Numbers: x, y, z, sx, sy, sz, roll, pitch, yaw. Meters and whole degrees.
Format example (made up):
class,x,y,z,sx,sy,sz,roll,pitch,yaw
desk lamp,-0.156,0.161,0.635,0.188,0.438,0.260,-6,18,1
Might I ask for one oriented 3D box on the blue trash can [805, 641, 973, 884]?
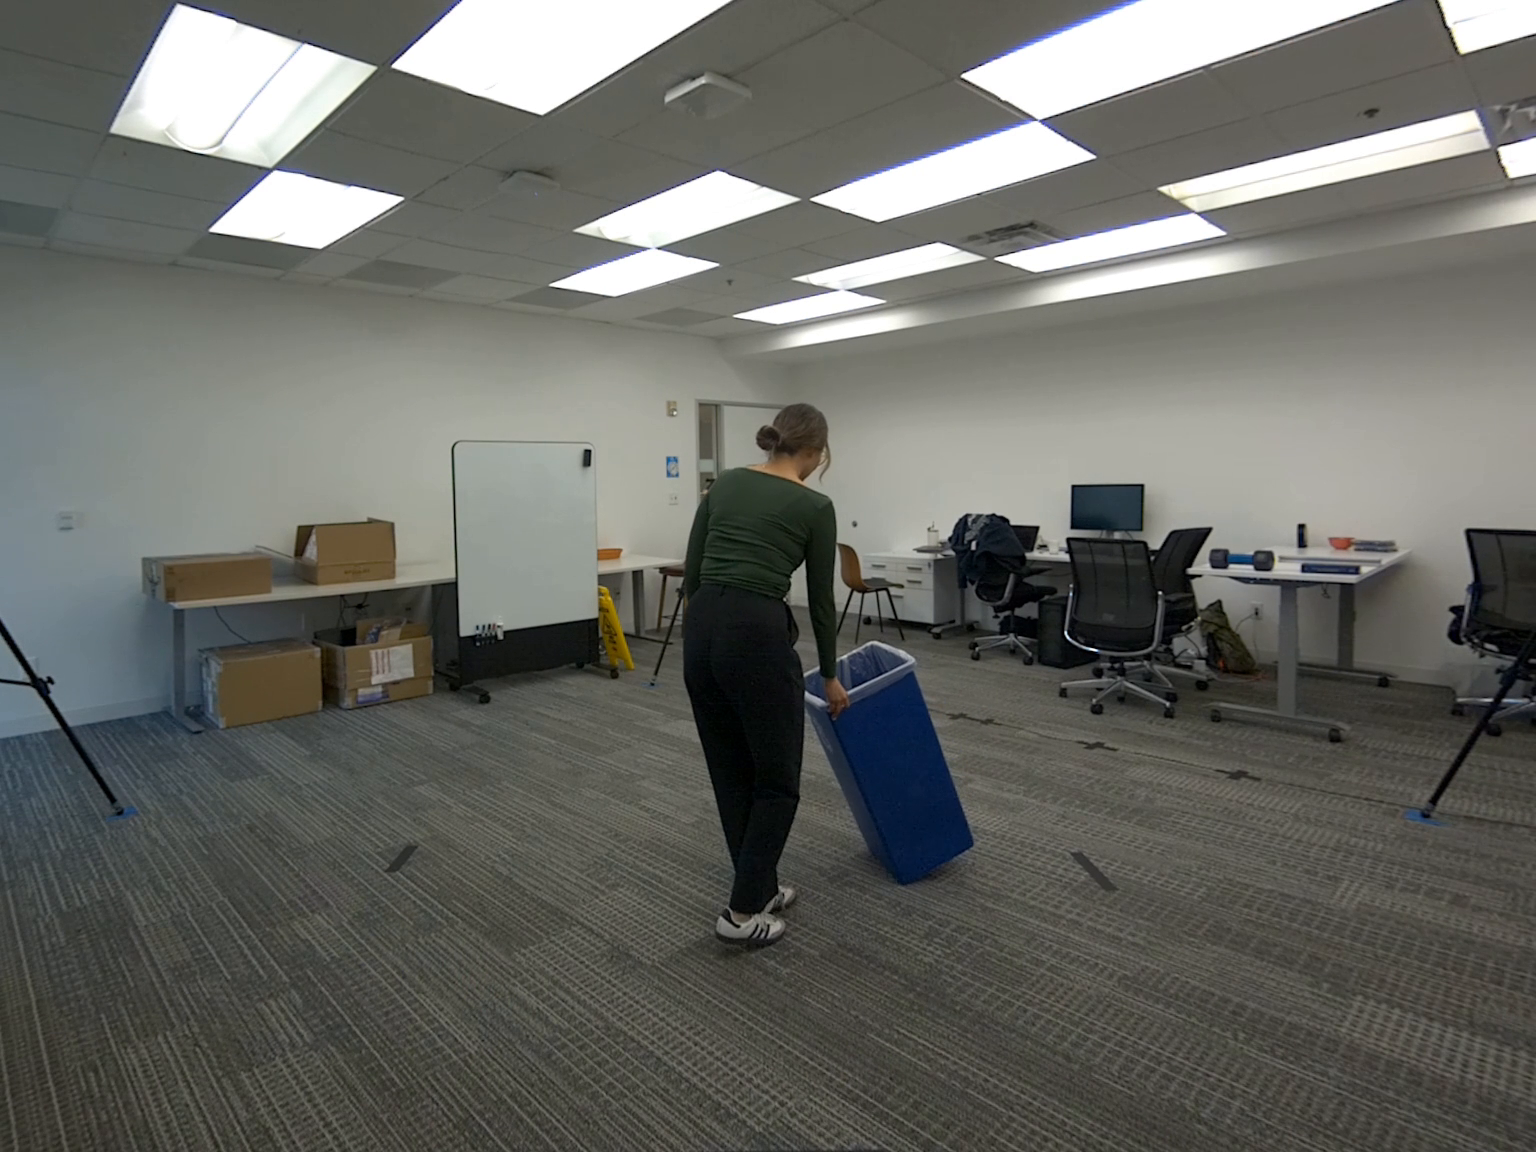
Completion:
class,x,y,z,sx,sy,sz,roll,pitch,yaw
blue trash can,0.426,0.657,3.044,0.372,0.706,0.384,-24,9,-12
